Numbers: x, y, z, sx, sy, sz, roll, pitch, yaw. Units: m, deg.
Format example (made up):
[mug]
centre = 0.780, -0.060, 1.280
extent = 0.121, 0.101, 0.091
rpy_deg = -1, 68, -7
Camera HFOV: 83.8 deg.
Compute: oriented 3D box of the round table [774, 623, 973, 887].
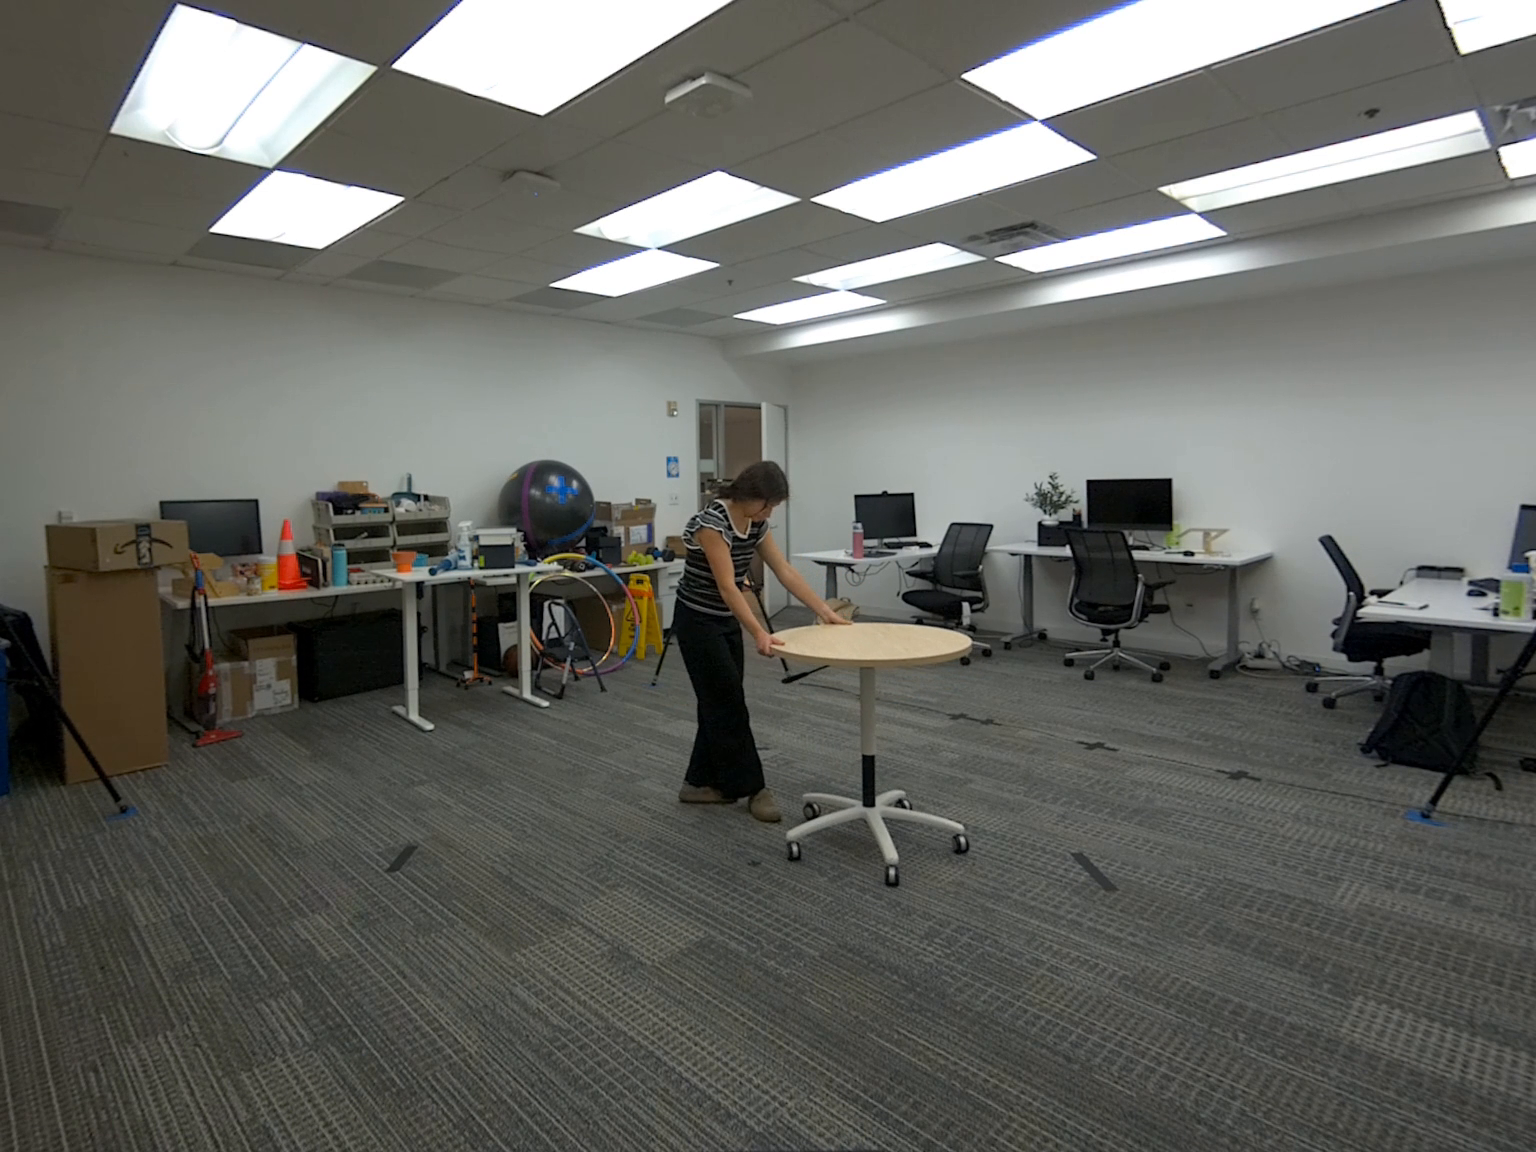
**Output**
[round table]
centre = 0.384, 0.634, 3.247
extent = 0.763, 0.791, 0.767
rpy_deg = -1, 4, -2
